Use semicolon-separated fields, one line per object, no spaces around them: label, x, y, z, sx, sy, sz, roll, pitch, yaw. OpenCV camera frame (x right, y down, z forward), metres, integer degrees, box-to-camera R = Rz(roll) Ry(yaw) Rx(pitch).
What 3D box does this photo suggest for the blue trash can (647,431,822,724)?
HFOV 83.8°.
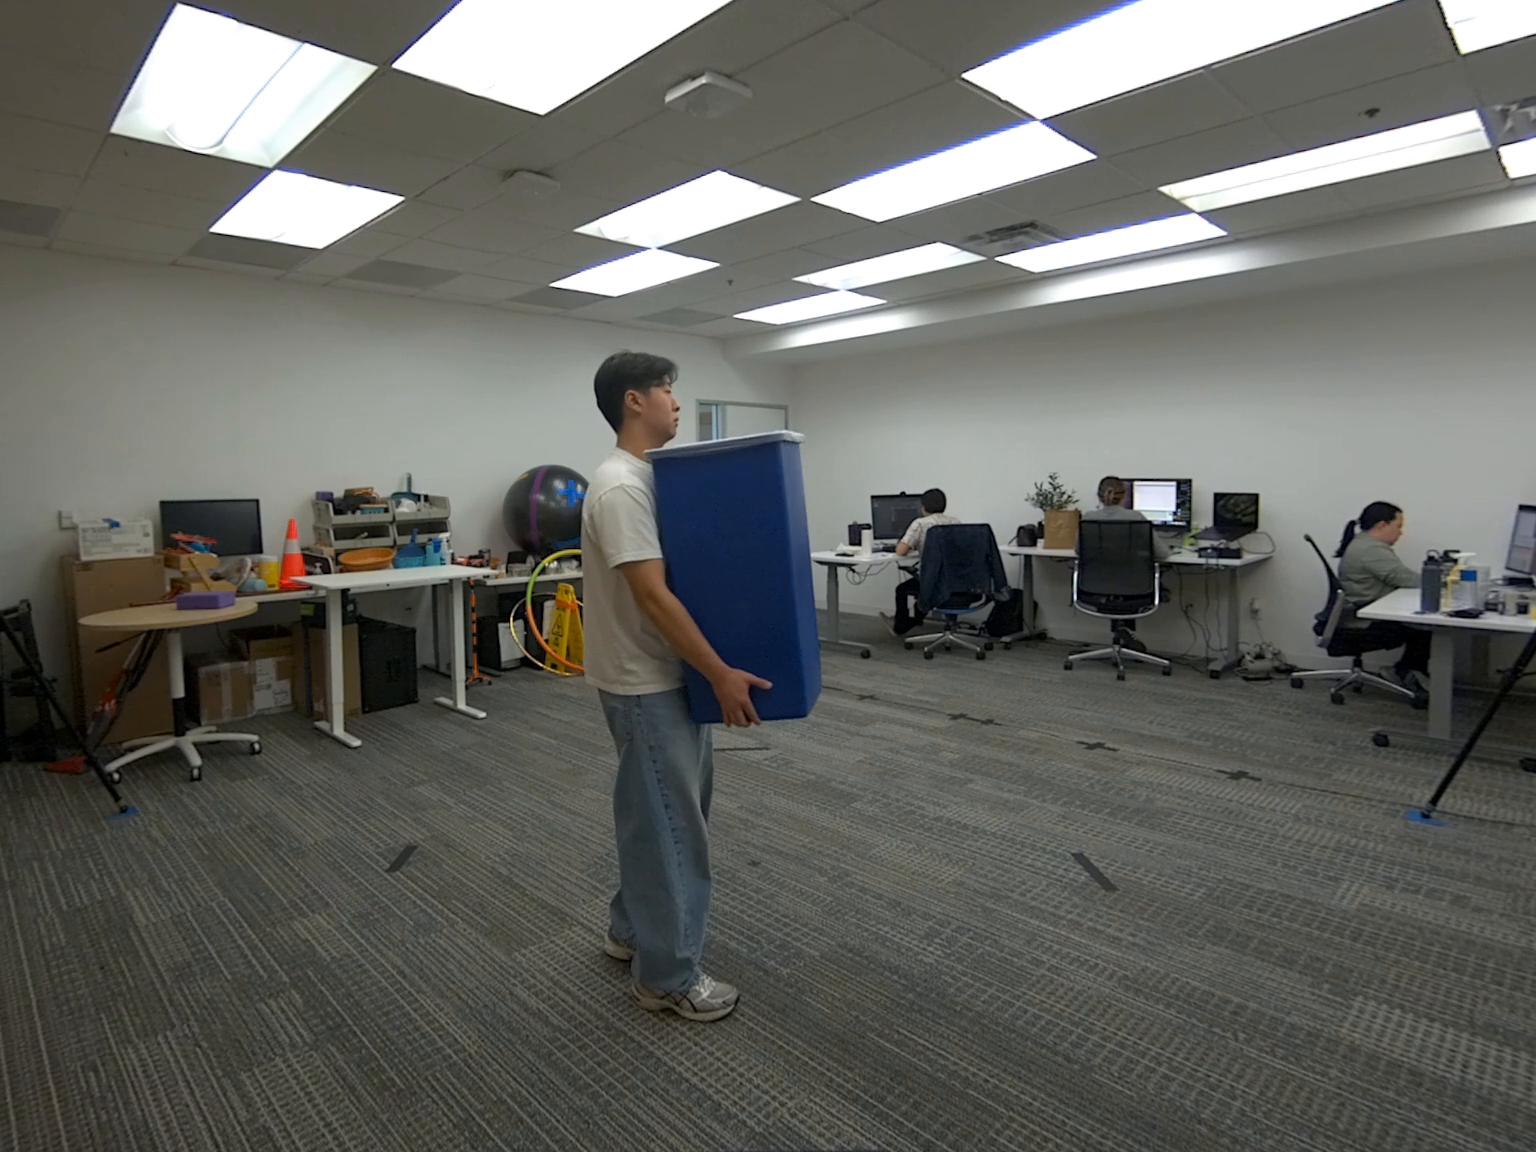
blue trash can;-0.060;-0.008;2.276;0.382;0.712;0.371;-7;2;11
